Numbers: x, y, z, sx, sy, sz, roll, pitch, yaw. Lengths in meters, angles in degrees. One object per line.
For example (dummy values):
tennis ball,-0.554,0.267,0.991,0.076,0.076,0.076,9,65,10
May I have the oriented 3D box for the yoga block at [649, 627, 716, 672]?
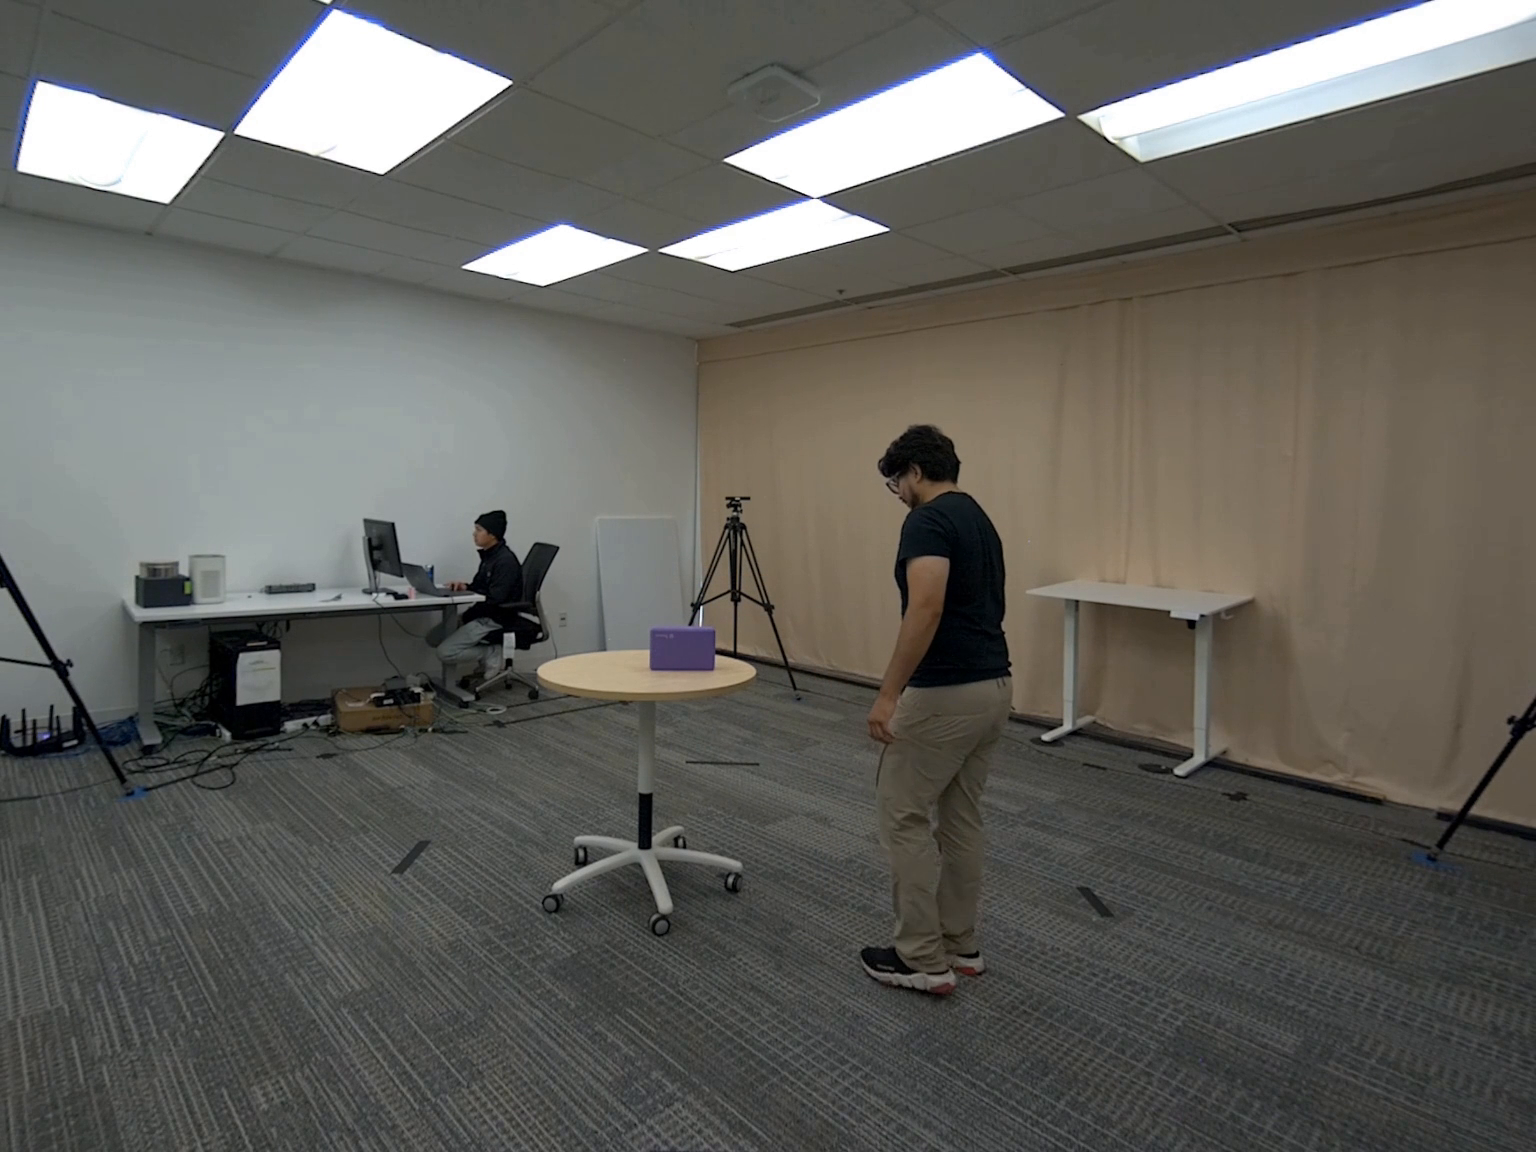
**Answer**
yoga block,-0.311,0.256,2.976,0.229,0.148,0.077,1,4,-2
